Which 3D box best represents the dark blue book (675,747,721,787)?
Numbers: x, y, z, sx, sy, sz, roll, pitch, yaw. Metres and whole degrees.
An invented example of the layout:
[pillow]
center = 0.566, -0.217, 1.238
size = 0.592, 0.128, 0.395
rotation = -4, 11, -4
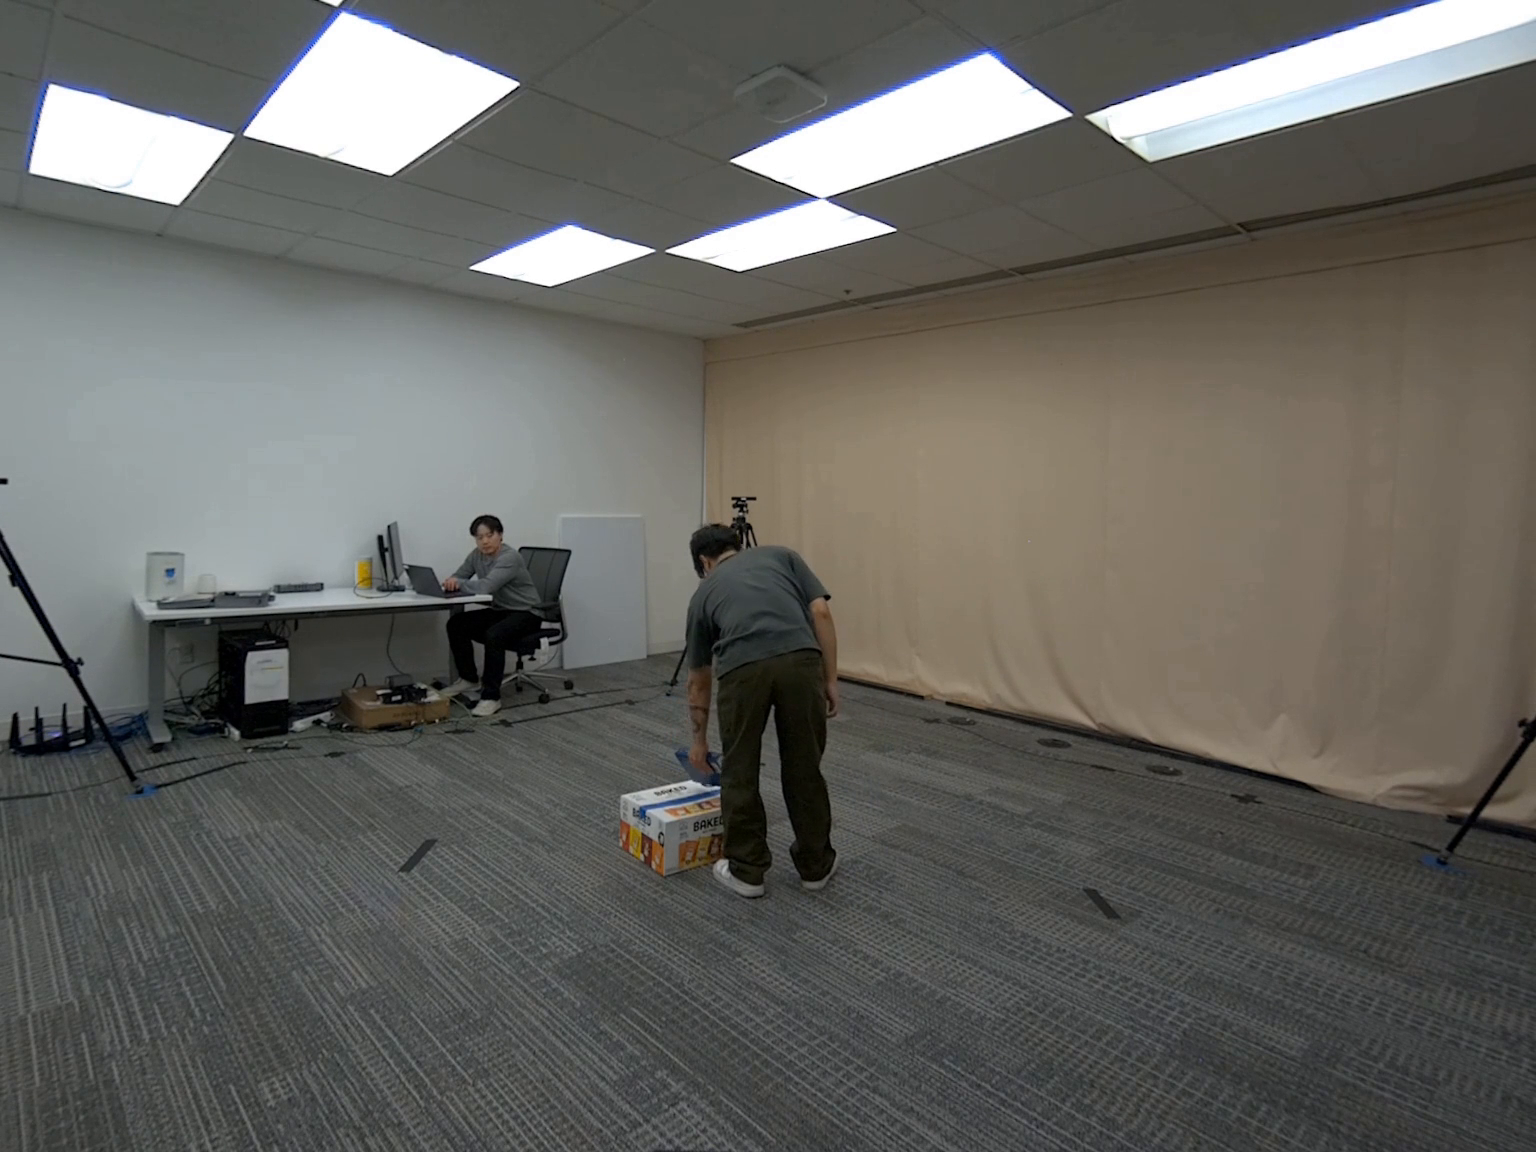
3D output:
[dark blue book]
center = -0.249, 0.758, 3.349
size = 0.250, 0.160, 0.045
rotation = -2, 33, 44
